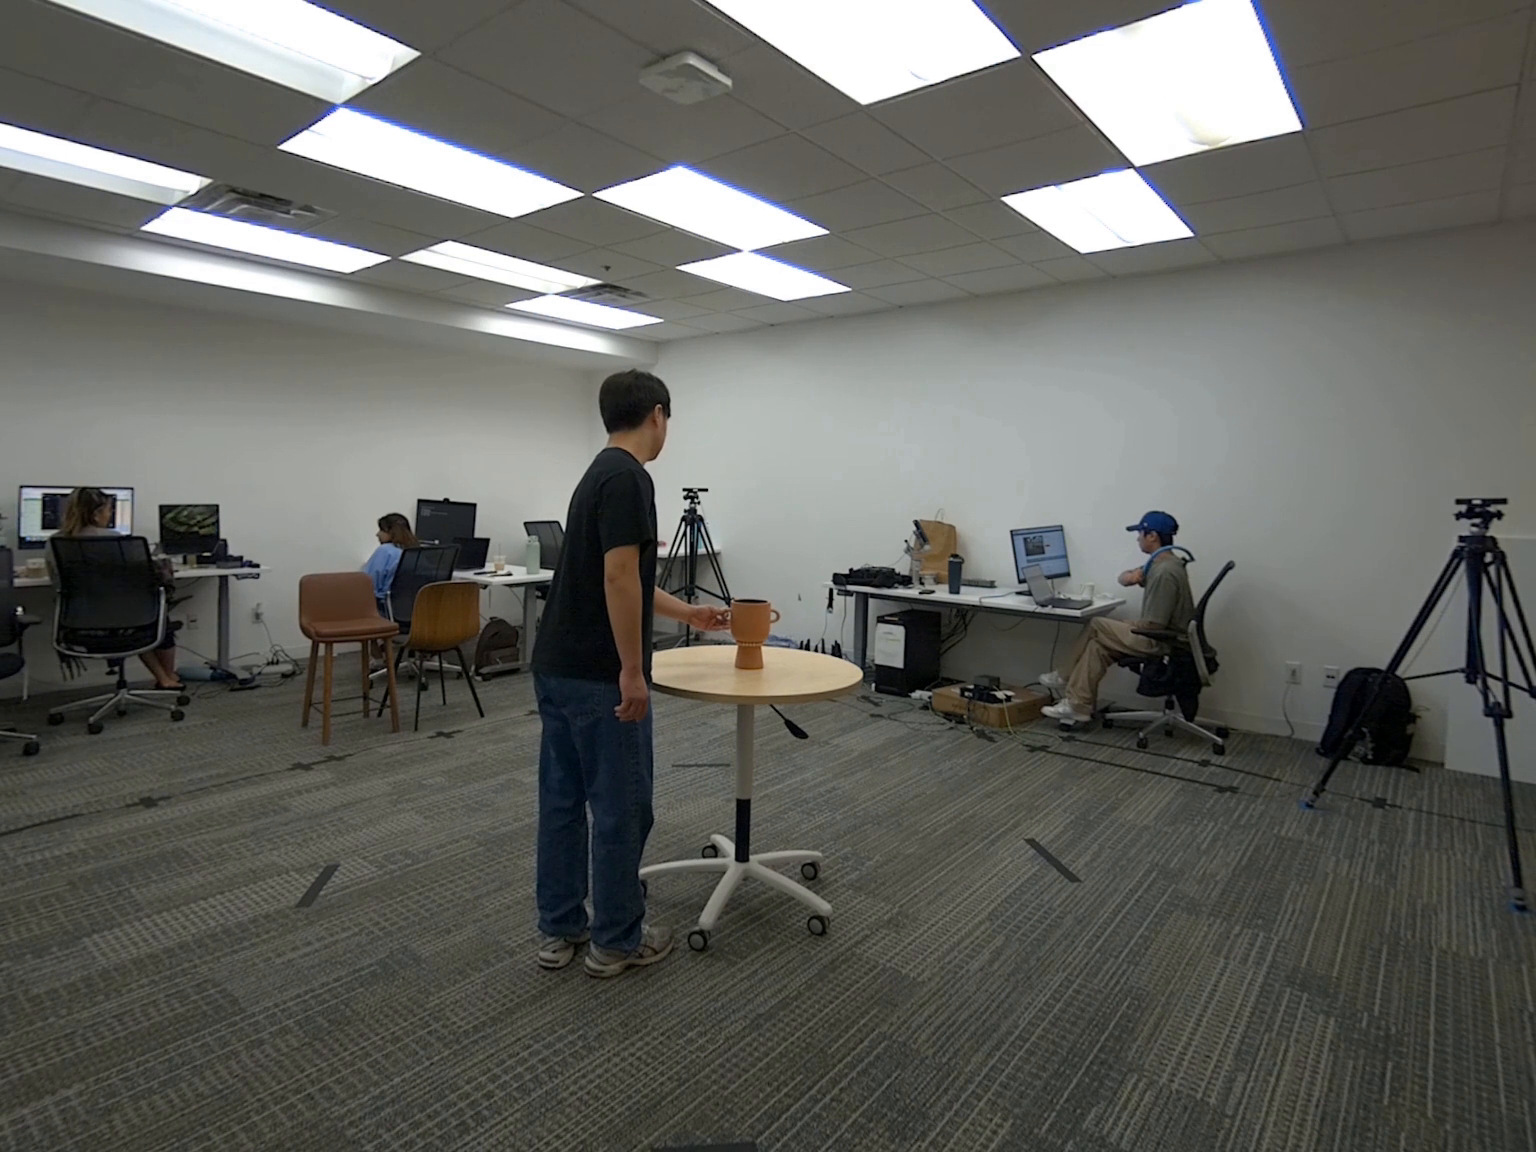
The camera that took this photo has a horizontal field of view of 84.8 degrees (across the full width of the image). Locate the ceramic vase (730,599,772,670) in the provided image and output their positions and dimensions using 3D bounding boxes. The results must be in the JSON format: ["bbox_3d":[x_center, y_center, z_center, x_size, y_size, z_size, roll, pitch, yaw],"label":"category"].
[{"bbox_3d":[-0.066,0.189,2.847,0.163,0.219,0.131,4,4,28],"label":"ceramic vase"}]
